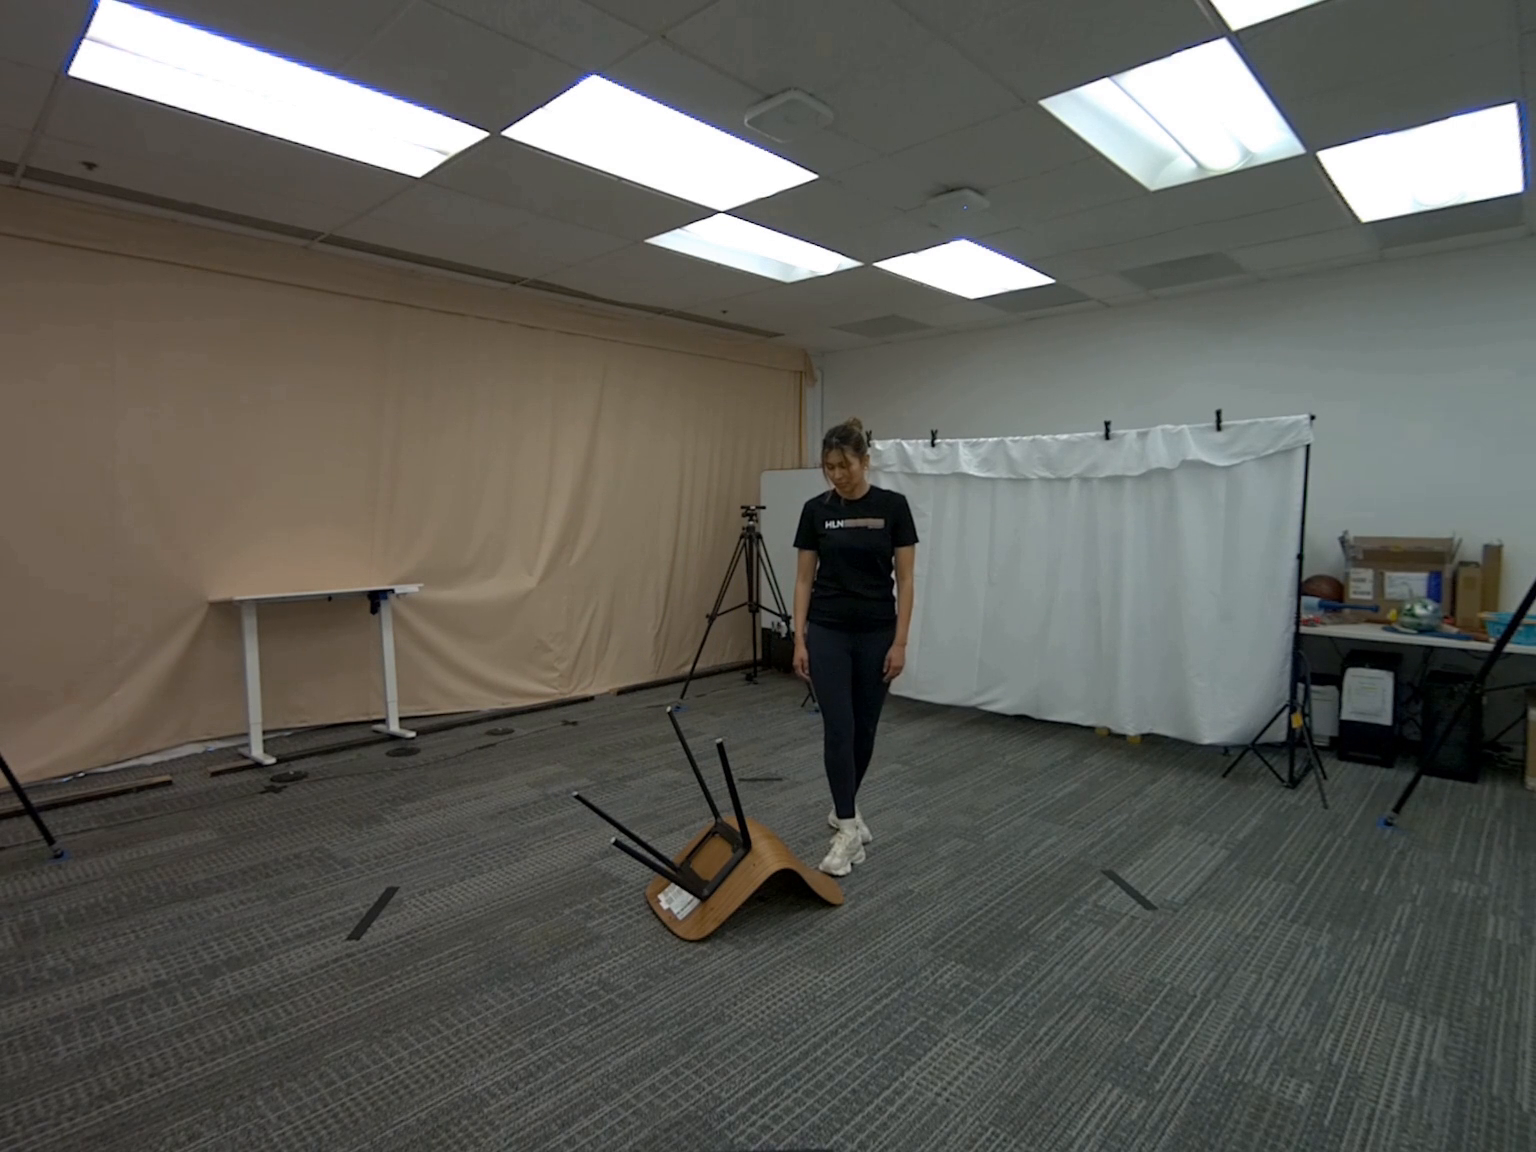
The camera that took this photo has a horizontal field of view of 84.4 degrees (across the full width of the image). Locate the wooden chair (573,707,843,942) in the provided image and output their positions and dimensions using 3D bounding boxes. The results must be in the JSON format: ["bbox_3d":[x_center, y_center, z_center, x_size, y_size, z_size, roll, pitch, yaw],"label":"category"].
[{"bbox_3d":[-0.198,0.978,2.916,0.520,0.859,0.491,-44,20,-17],"label":"wooden chair"}]
